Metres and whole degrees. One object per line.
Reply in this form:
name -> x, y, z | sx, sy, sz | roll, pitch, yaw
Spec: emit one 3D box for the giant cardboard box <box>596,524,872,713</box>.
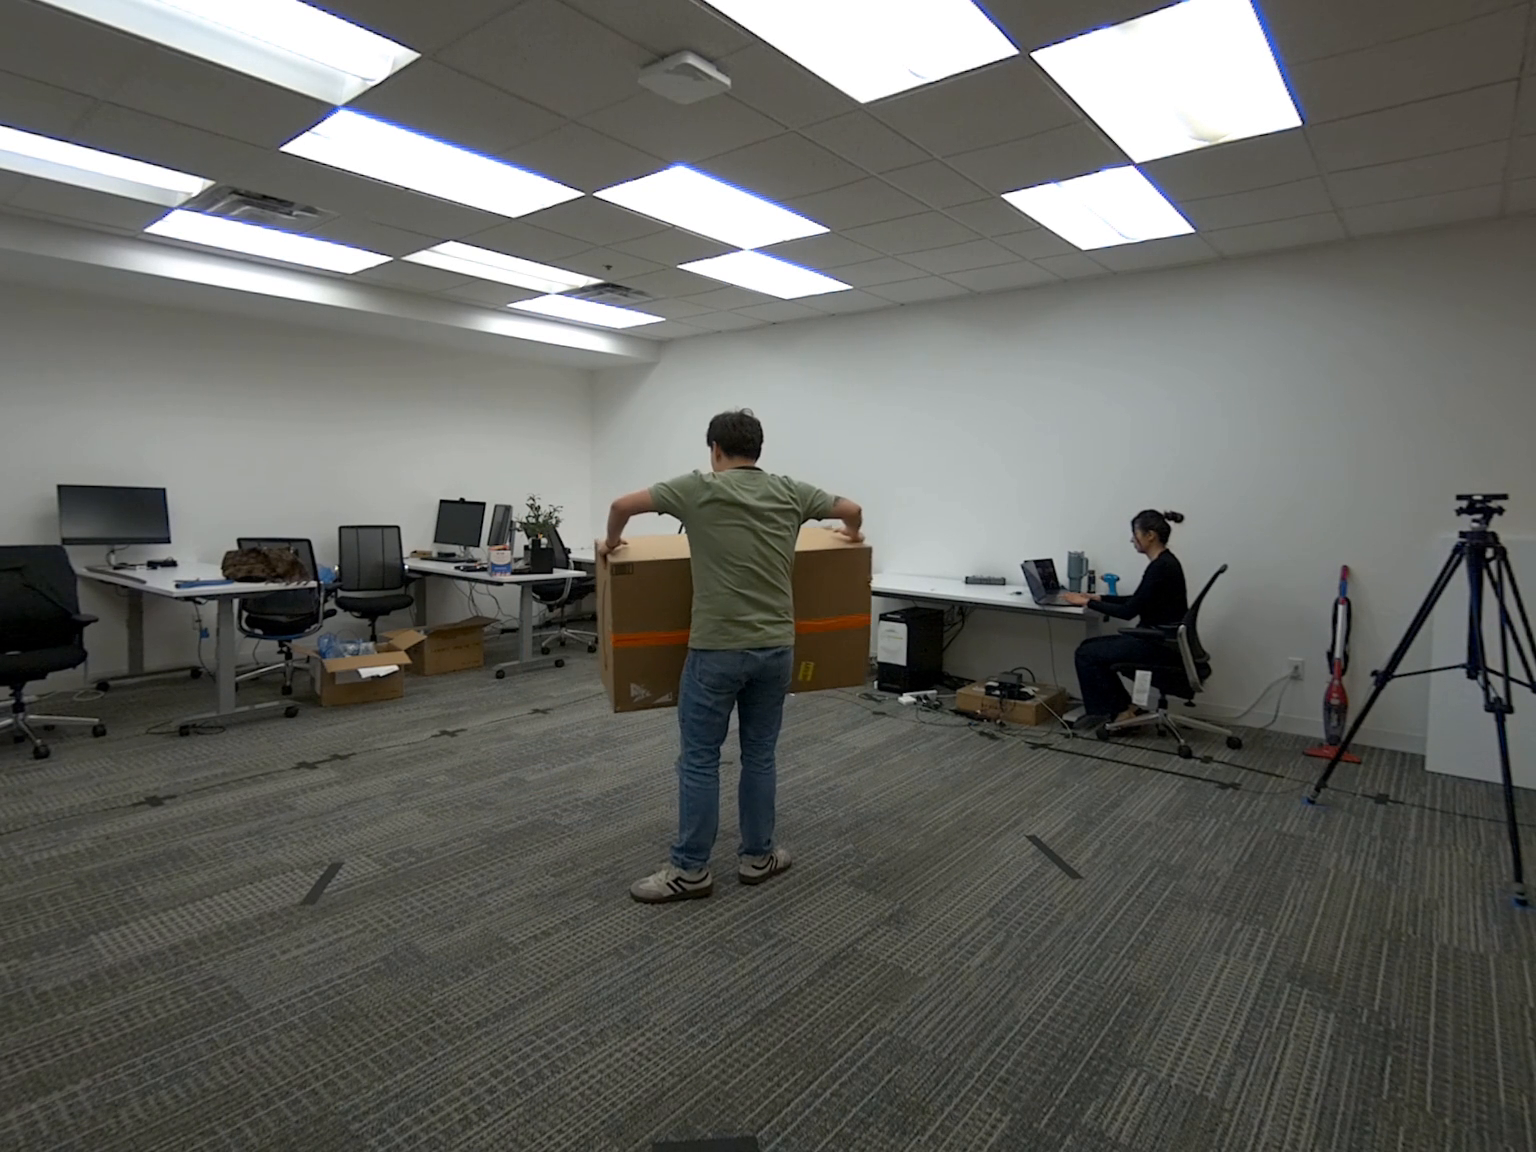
giant cardboard box -> -0.153, 0.142, 3.389 | 1.010, 0.570, 0.438 | -4, 14, -16
